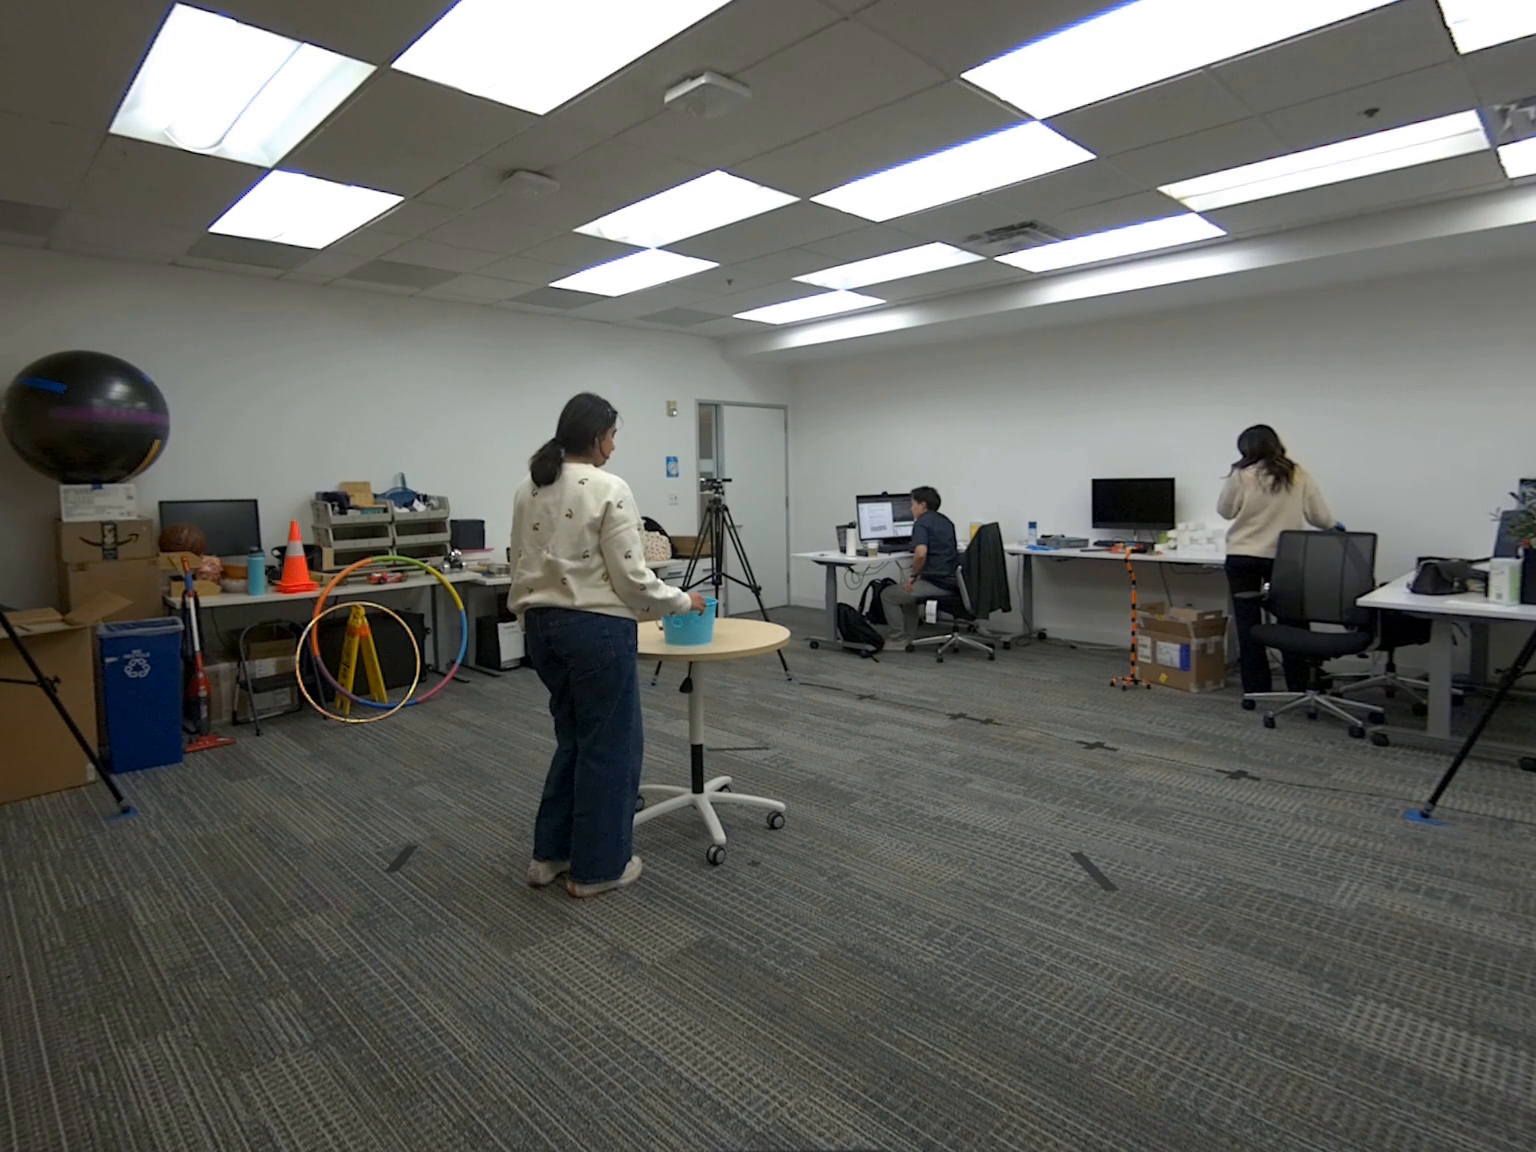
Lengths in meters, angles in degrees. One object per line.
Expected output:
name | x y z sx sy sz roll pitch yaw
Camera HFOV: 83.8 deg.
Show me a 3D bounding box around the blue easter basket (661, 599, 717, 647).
blue easter basket | -0.305 0.174 3.273 0.243 0.155 0.245 -2 7 -1
